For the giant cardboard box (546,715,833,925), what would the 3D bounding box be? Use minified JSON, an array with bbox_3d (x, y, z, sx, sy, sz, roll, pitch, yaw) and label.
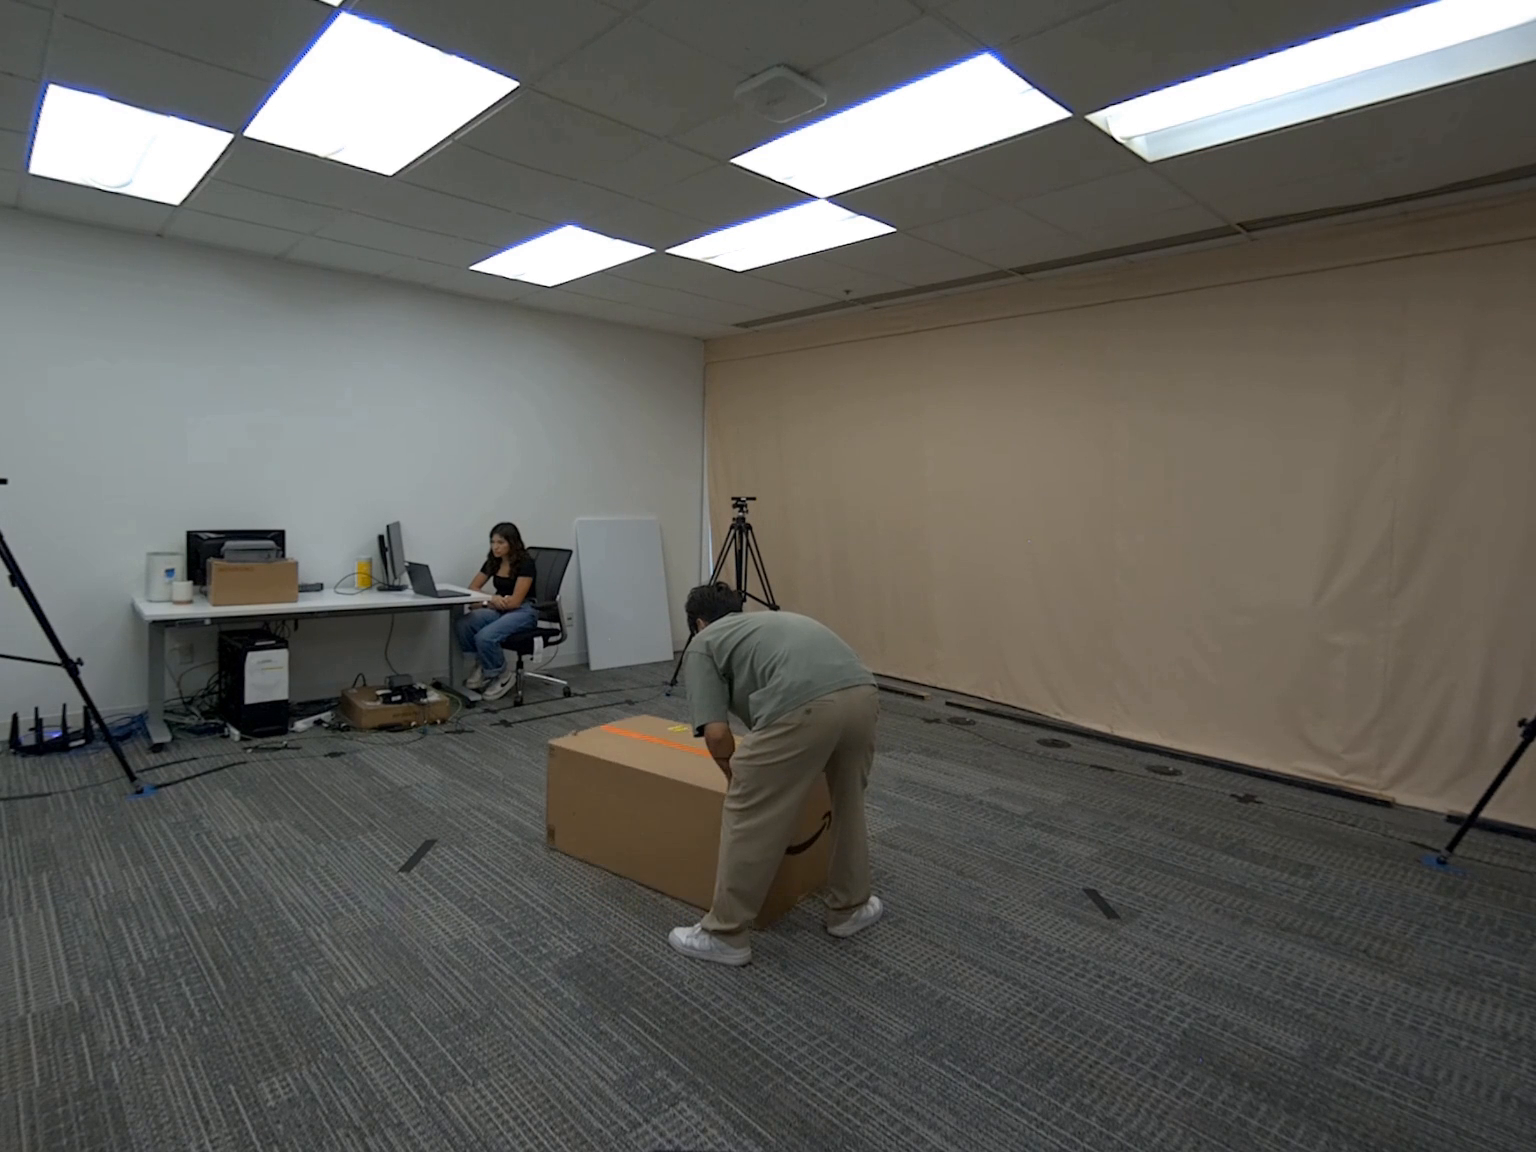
[{"bbox_3d":[-0.298,0.877,3.238,1.051,0.425,0.565,5,6,35],"label":"giant cardboard box"}]
